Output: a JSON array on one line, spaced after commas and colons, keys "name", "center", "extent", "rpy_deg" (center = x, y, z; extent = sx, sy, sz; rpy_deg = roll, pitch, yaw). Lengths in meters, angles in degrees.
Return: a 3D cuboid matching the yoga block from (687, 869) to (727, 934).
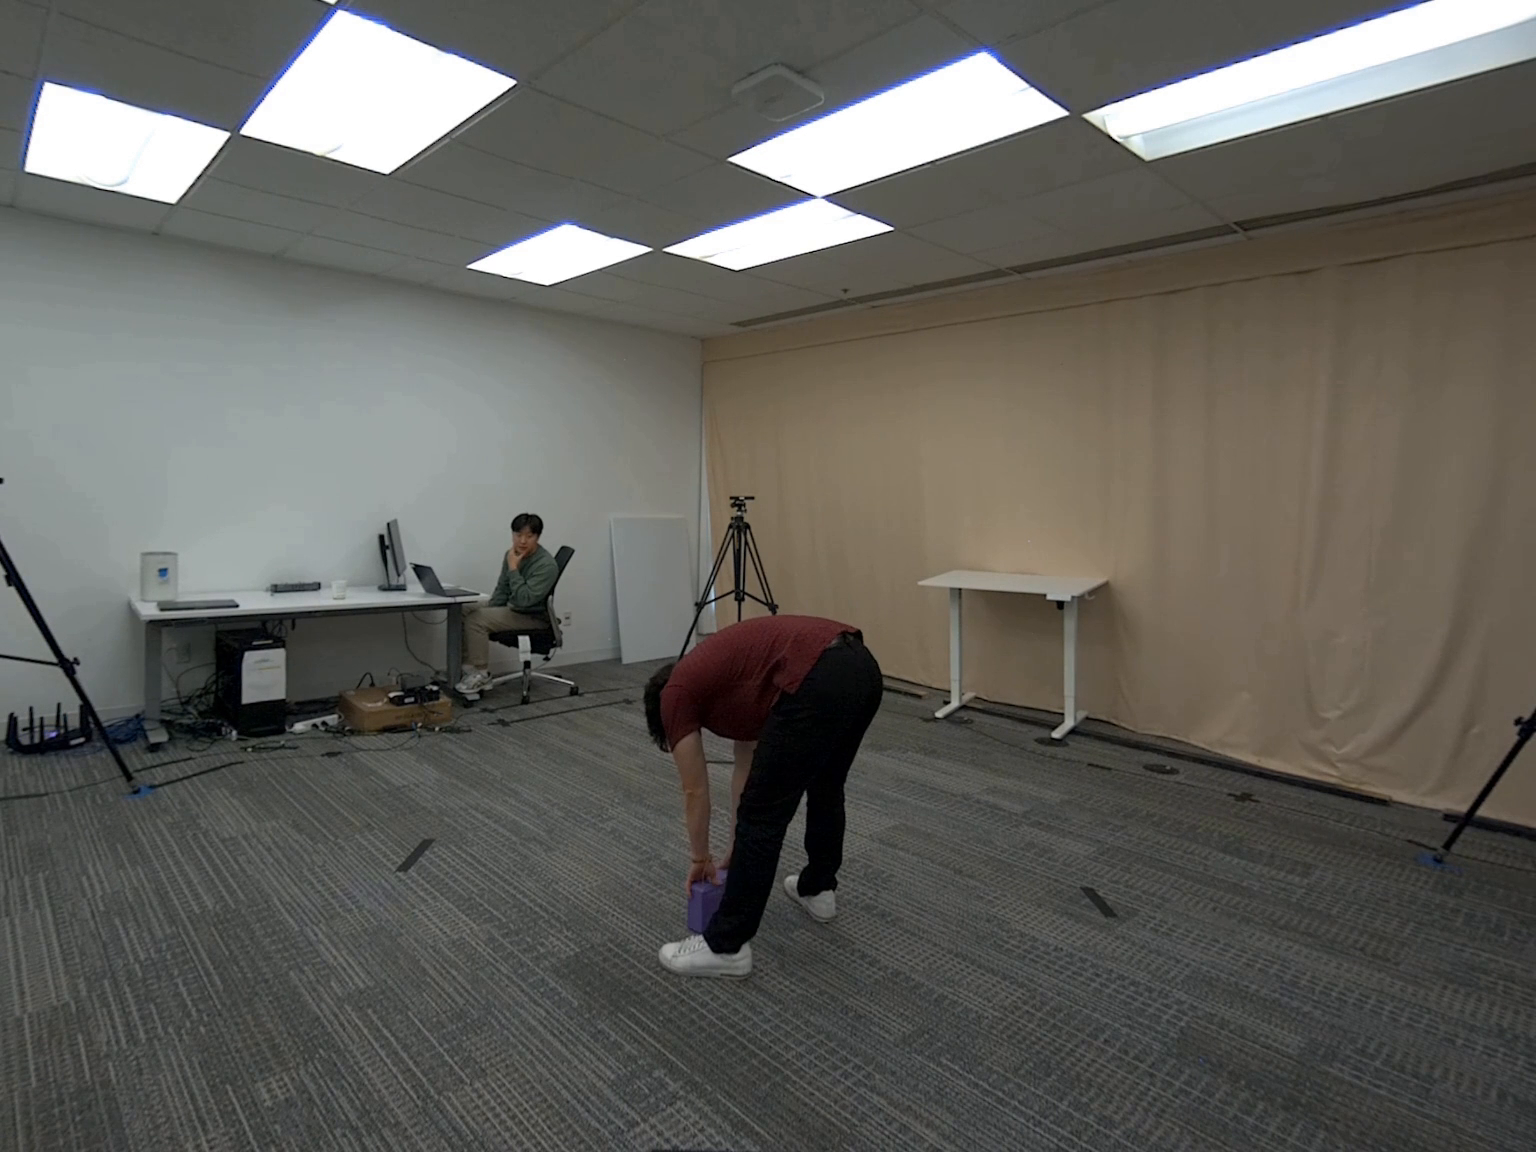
[{"name": "yoga block", "center": [-0.165, 1.063, 2.766], "extent": [0.078, 0.148, 0.224], "rpy_deg": [8, 8, 36]}]
